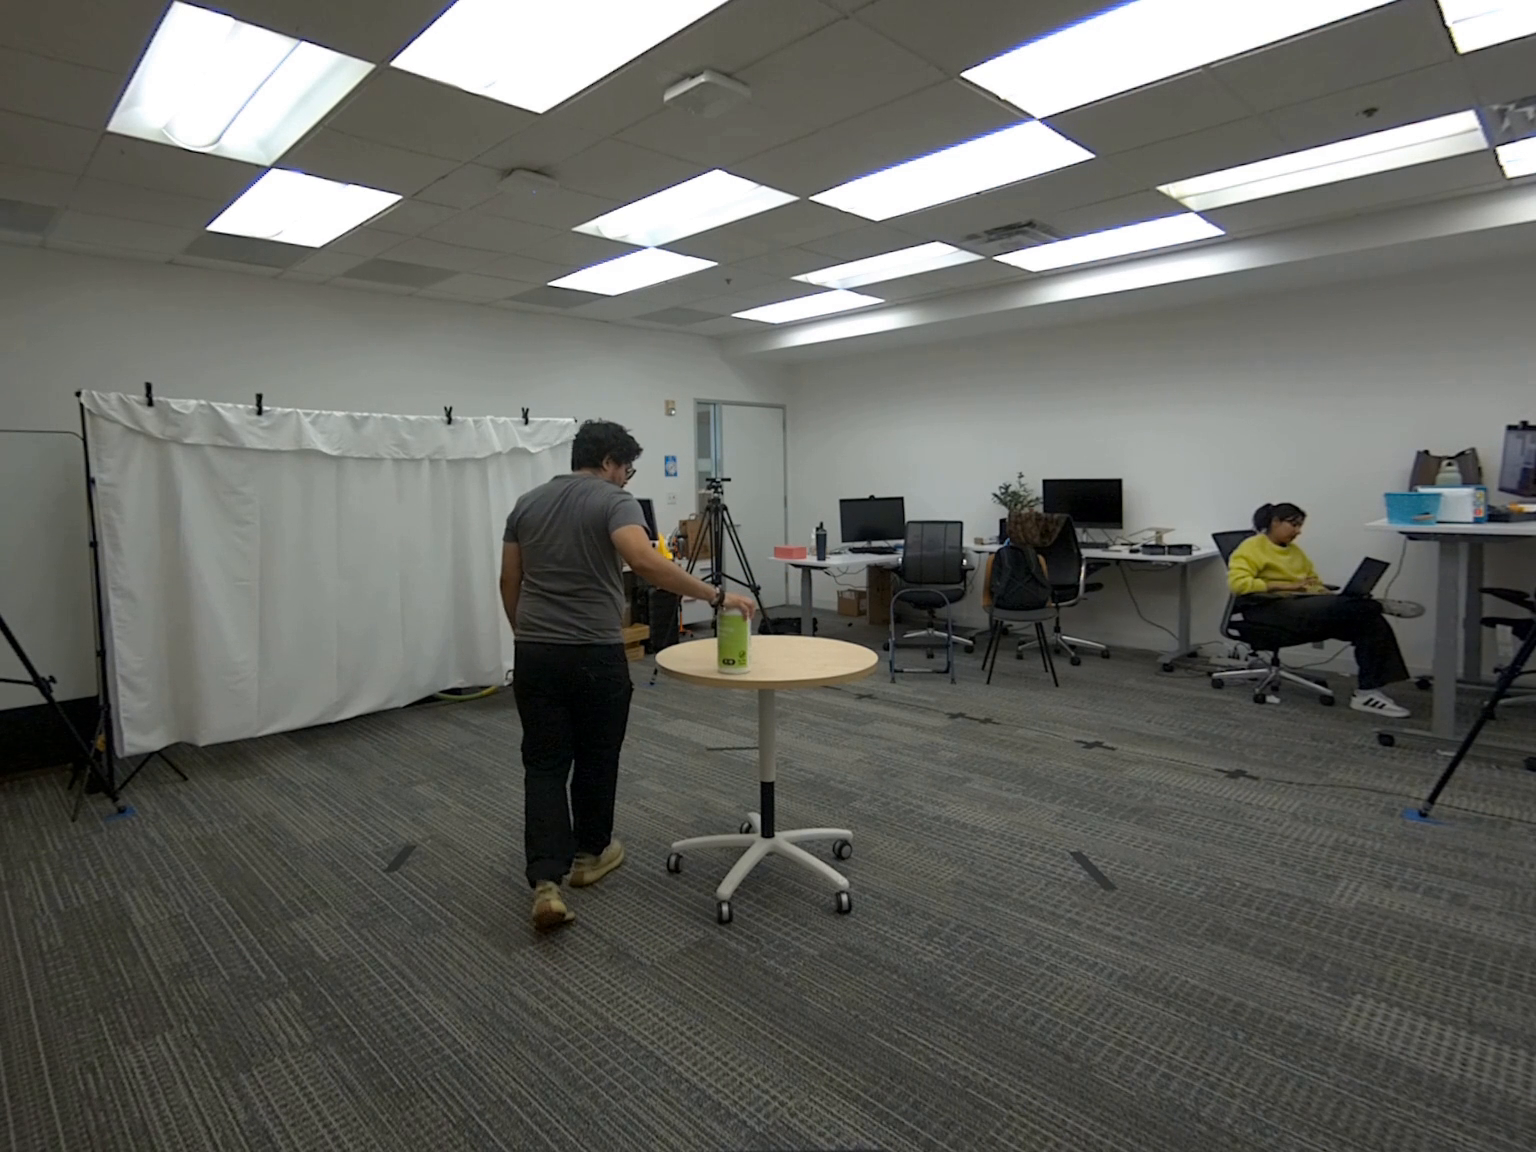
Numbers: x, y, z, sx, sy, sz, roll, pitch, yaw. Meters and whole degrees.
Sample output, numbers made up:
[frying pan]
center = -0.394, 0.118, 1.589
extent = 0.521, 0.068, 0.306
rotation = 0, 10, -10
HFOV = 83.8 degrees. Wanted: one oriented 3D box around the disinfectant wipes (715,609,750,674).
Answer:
[disinfectant wipes]
center = -0.111, 0.194, 2.716
extent = 0.118, 0.216, 0.118
rotation = -1, 6, -2
